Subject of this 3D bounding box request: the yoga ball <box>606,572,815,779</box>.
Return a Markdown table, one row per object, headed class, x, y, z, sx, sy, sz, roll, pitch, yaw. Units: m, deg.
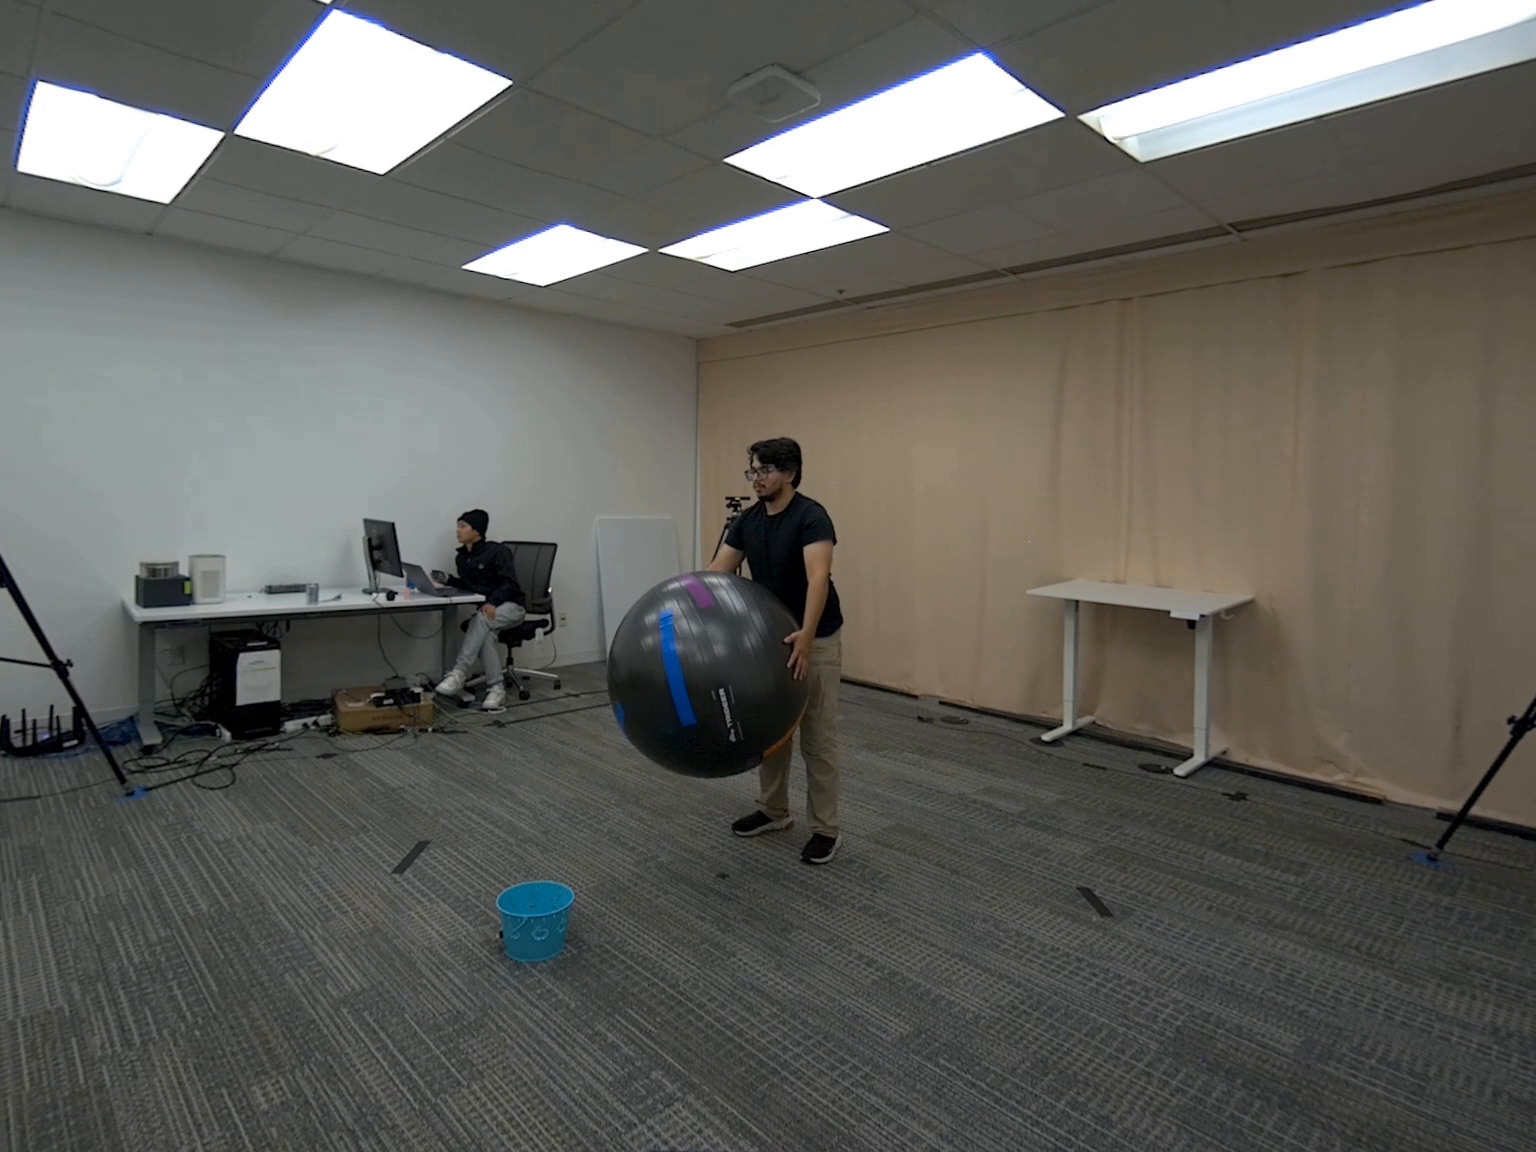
| class | x | y | z | sx | sy | sz | roll | pitch | yaw |
| --- | --- | --- | --- | --- | --- | --- | --- | --- | --- |
| yoga ball | -0.224 | 0.369 | 3.127 | 0.757 | 0.756 | 0.761 | 1 | 4 | -1 |
